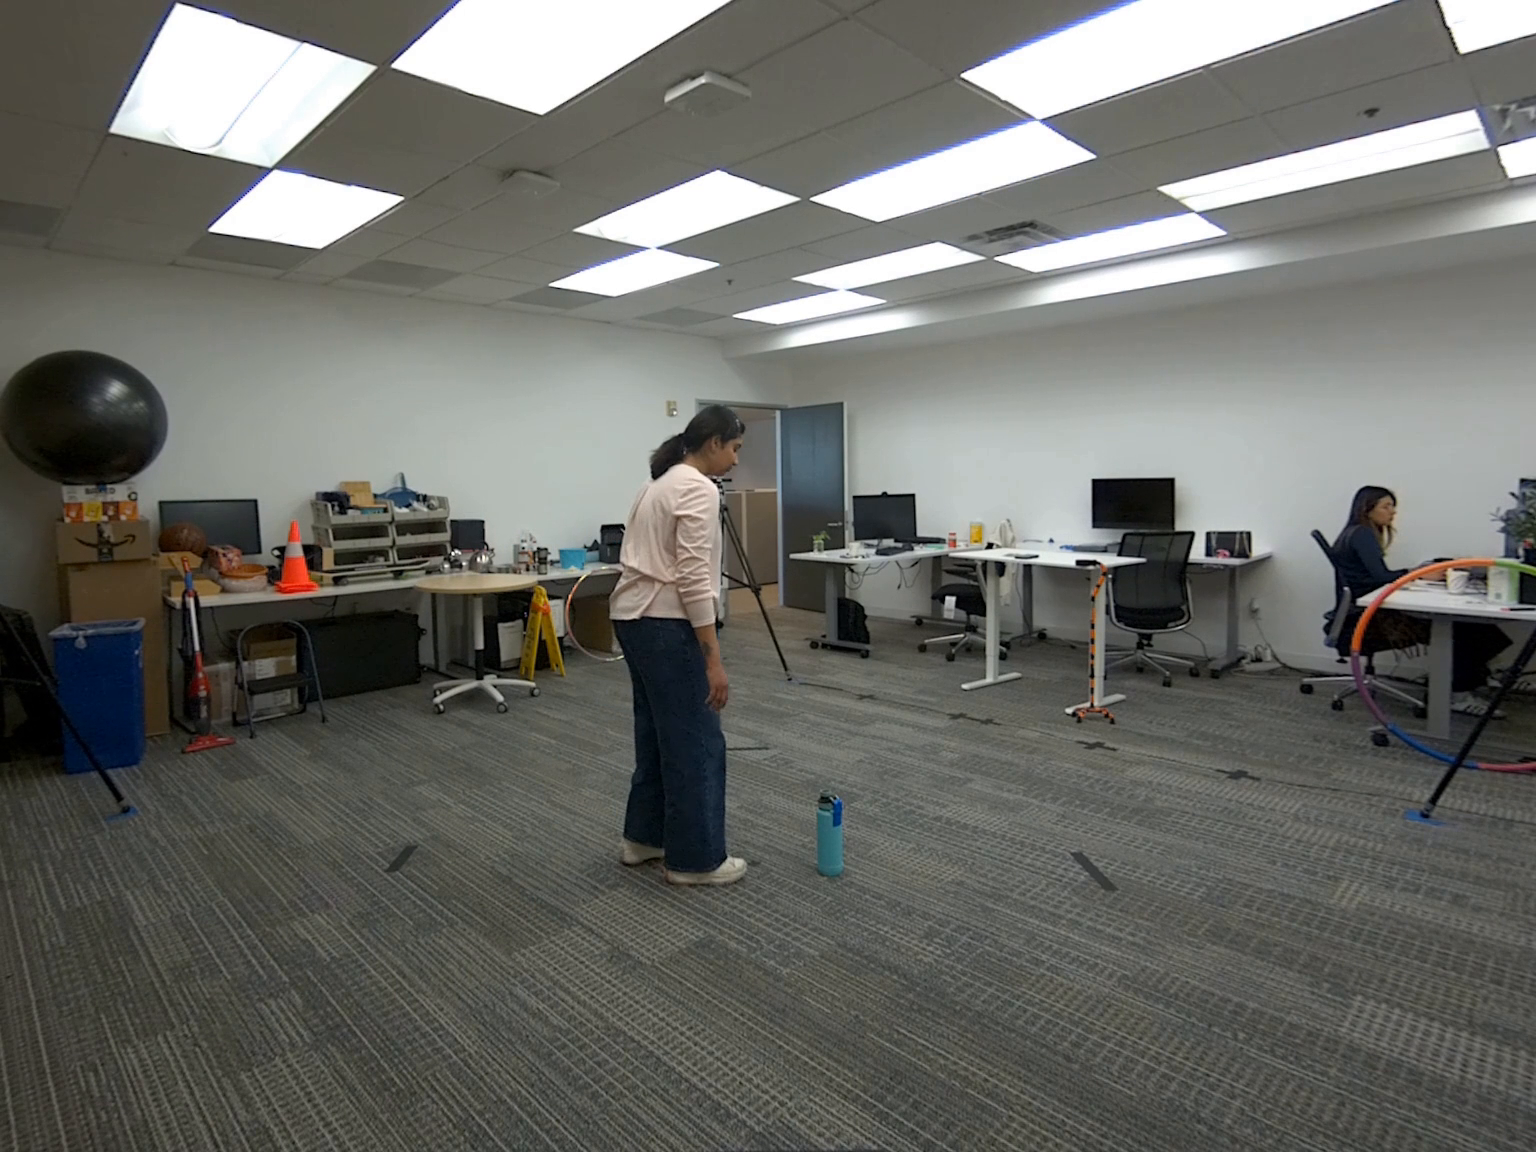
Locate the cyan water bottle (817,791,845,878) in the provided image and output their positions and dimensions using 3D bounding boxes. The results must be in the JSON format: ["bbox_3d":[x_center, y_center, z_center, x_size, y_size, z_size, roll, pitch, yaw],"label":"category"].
[{"bbox_3d":[0.218,0.905,3.024,0.092,0.282,0.093,0,5,-2],"label":"cyan water bottle"}]
